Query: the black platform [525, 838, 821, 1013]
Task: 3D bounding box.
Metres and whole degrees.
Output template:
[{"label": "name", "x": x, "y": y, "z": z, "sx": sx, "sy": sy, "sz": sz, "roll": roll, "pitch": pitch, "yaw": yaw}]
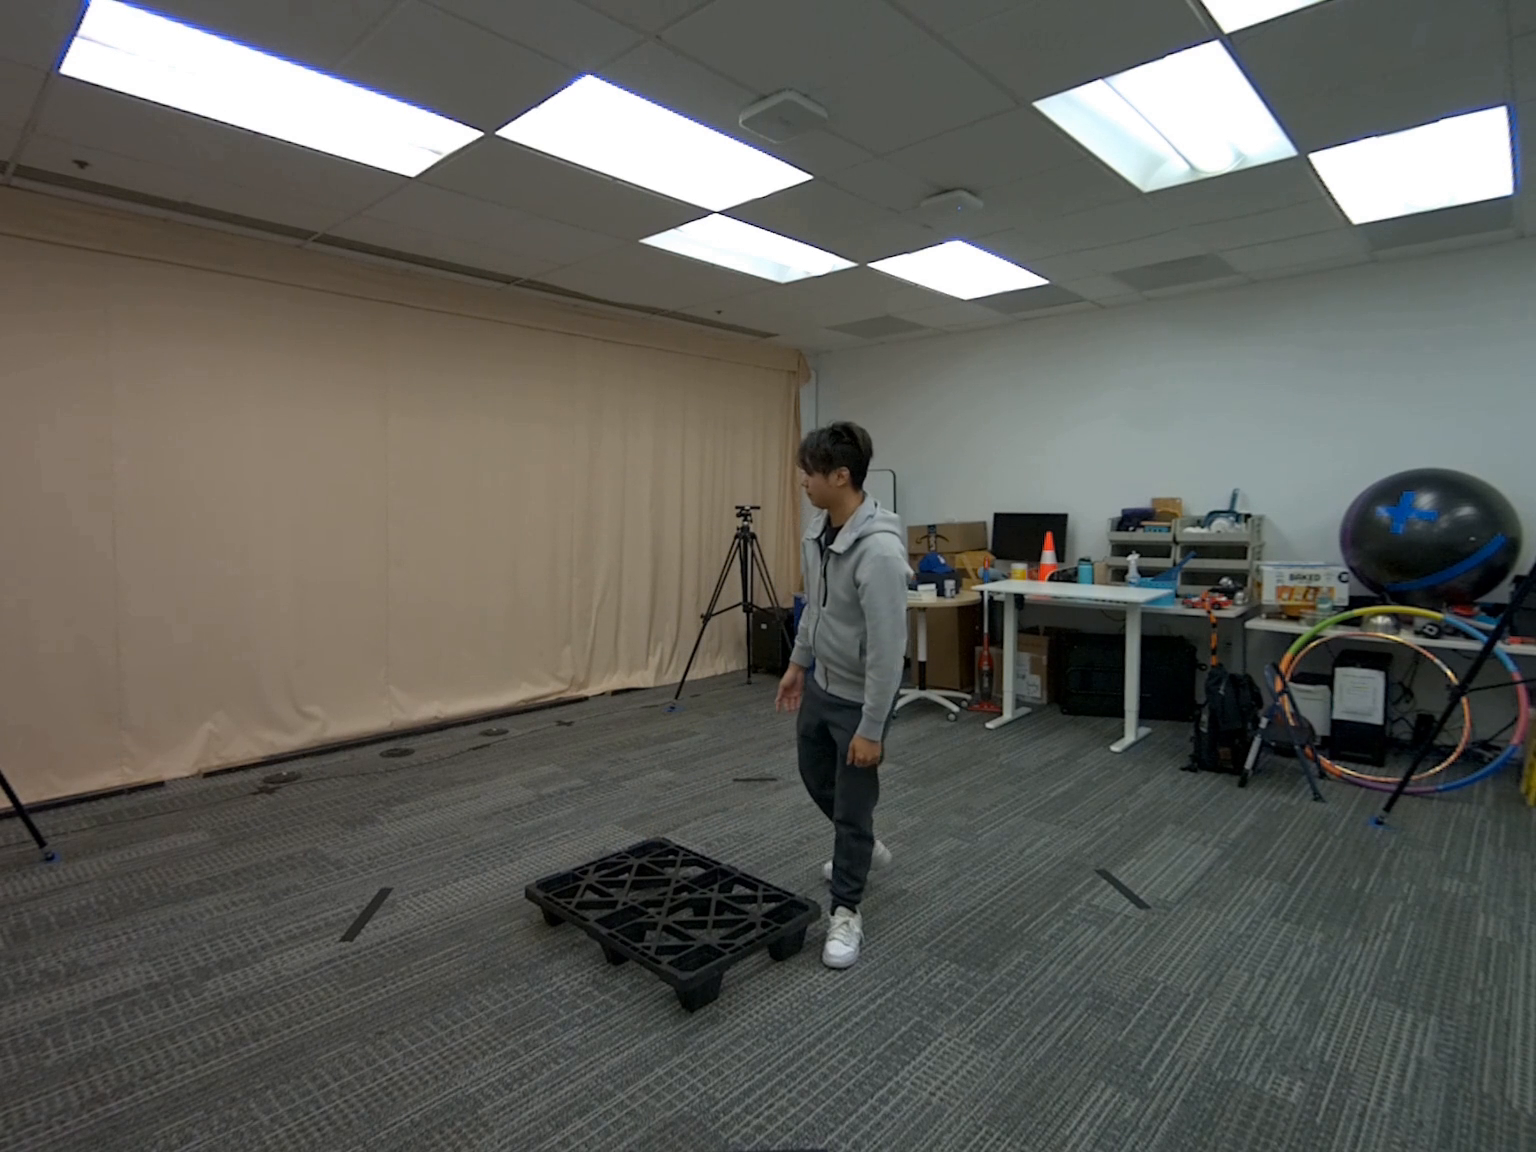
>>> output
[{"label": "black platform", "x": -0.320, "y": 1.102, "z": 2.734, "sx": 0.832, "sy": 0.143, "sz": 0.586, "roll": 4, "pitch": 6, "yaw": 44}]
